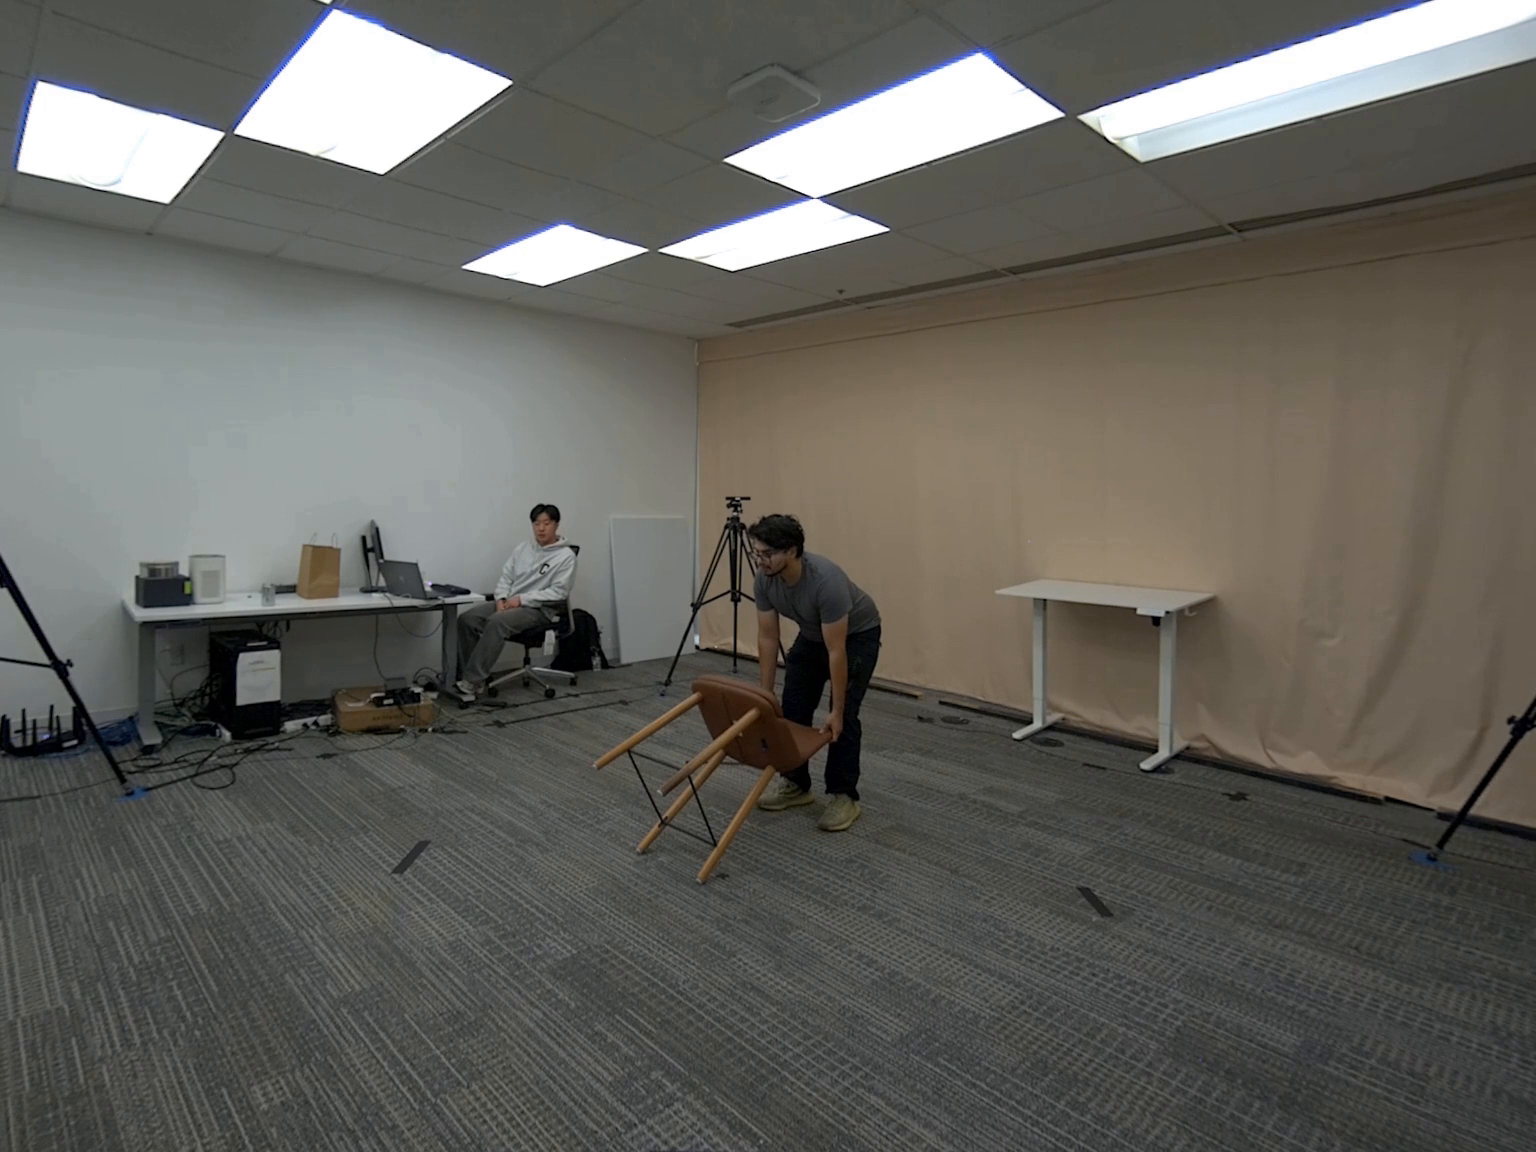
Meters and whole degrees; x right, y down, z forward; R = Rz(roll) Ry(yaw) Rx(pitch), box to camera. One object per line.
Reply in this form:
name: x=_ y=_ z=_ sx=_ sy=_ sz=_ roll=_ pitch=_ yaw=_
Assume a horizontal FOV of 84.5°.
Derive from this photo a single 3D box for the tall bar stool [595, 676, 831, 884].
tall bar stool: x=-0.179 y=0.686 z=3.334 sx=0.468 sy=0.458 sz=0.884 roll=5 pitch=32 yaw=44
